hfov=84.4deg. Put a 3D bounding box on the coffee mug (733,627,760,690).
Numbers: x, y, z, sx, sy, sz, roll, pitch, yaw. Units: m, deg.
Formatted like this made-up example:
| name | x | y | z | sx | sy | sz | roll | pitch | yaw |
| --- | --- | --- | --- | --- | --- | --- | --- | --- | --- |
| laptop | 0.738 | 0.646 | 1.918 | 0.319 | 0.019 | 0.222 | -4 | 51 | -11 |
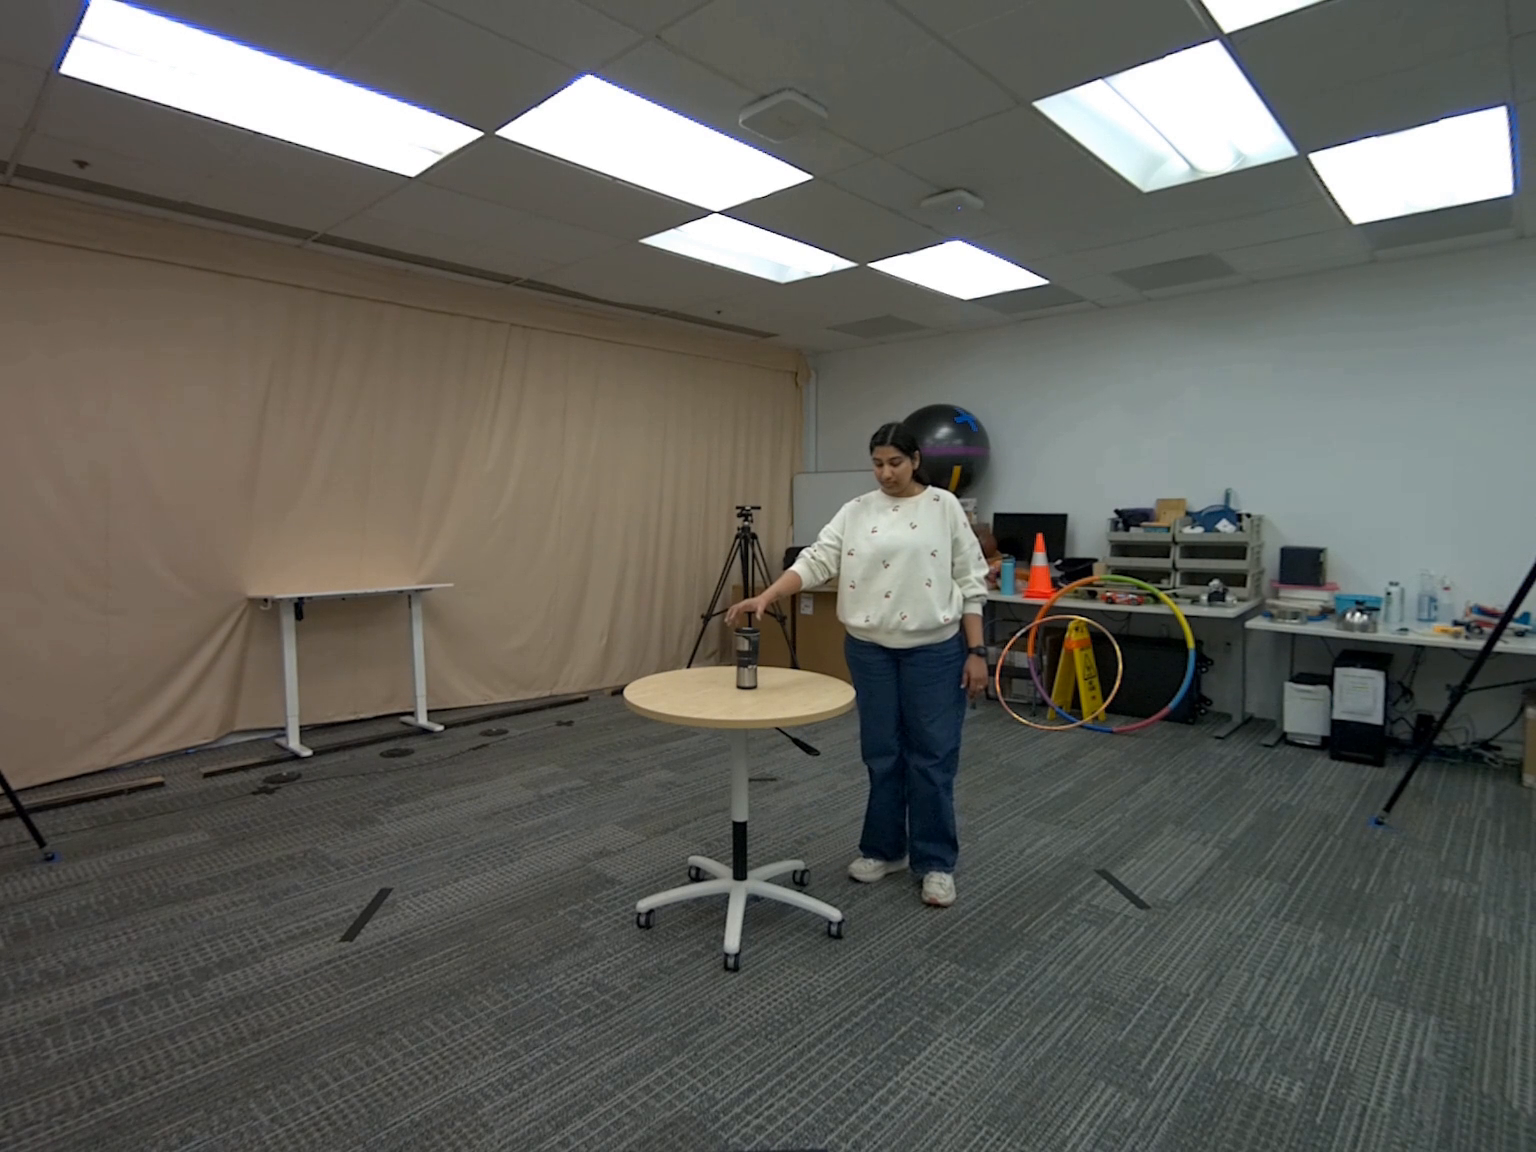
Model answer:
| name | x | y | z | sx | sy | sz | roll | pitch | yaw |
| --- | --- | --- | --- | --- | --- | --- | --- | --- | --- |
| coffee mug | -0.079 | 0.278 | 2.801 | 0.091 | 0.203 | 0.118 | 6 | 4 | 39 |
